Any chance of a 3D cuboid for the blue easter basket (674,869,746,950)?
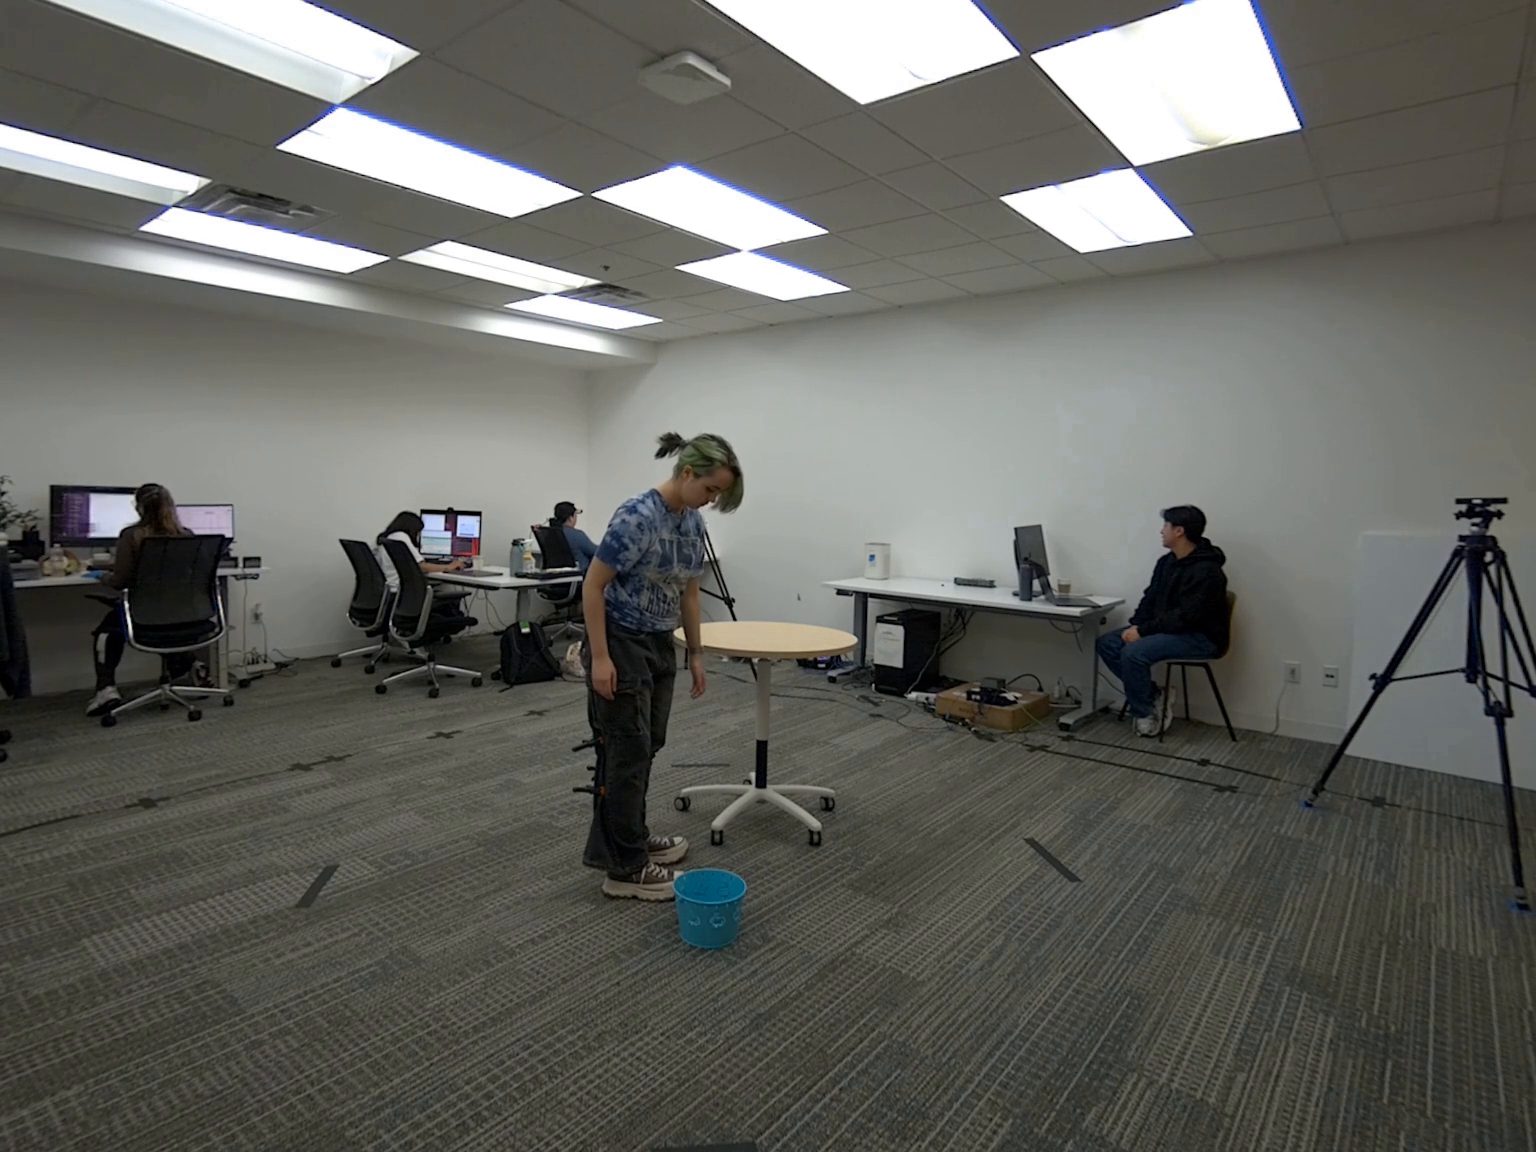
[{"bbox_3d":[-0.190,1.035,2.659,0.243,0.155,0.245,1,5,-2],"label":"blue easter basket"}]
